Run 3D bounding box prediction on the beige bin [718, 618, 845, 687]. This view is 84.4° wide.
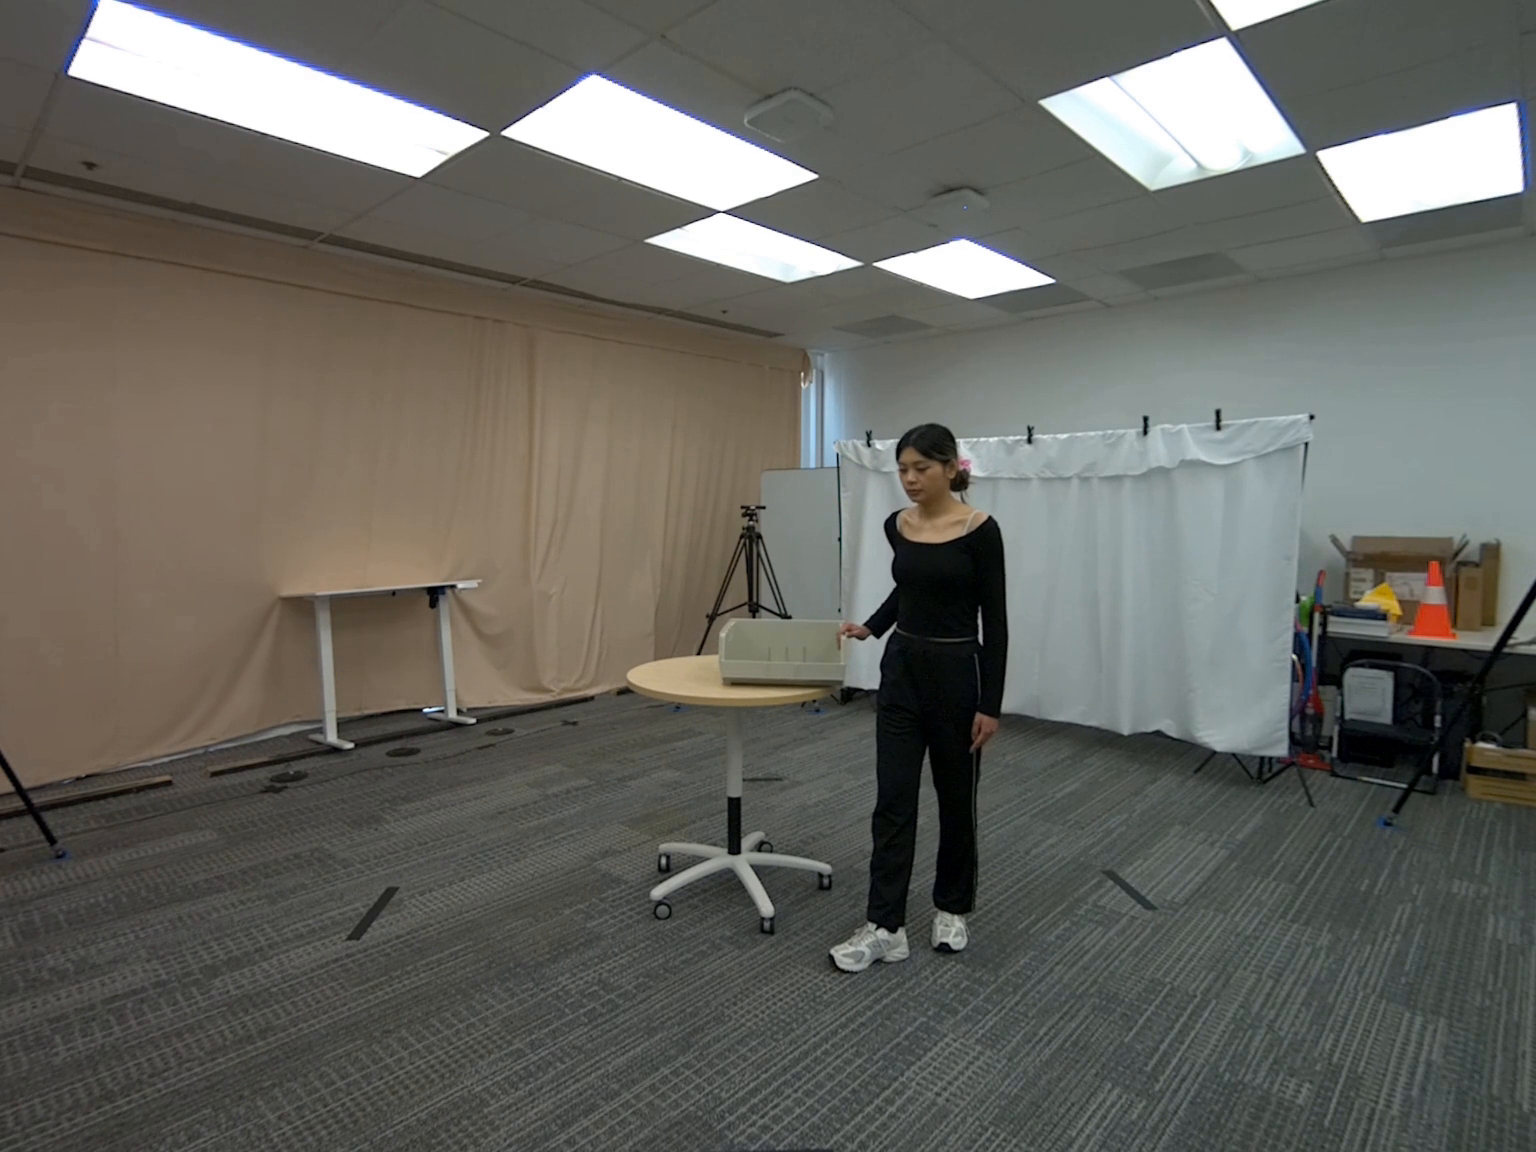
[{"bbox_3d":[0.061,0.268,2.925,0.425,0.188,0.376,1,4,5],"label":"beige bin"}]
